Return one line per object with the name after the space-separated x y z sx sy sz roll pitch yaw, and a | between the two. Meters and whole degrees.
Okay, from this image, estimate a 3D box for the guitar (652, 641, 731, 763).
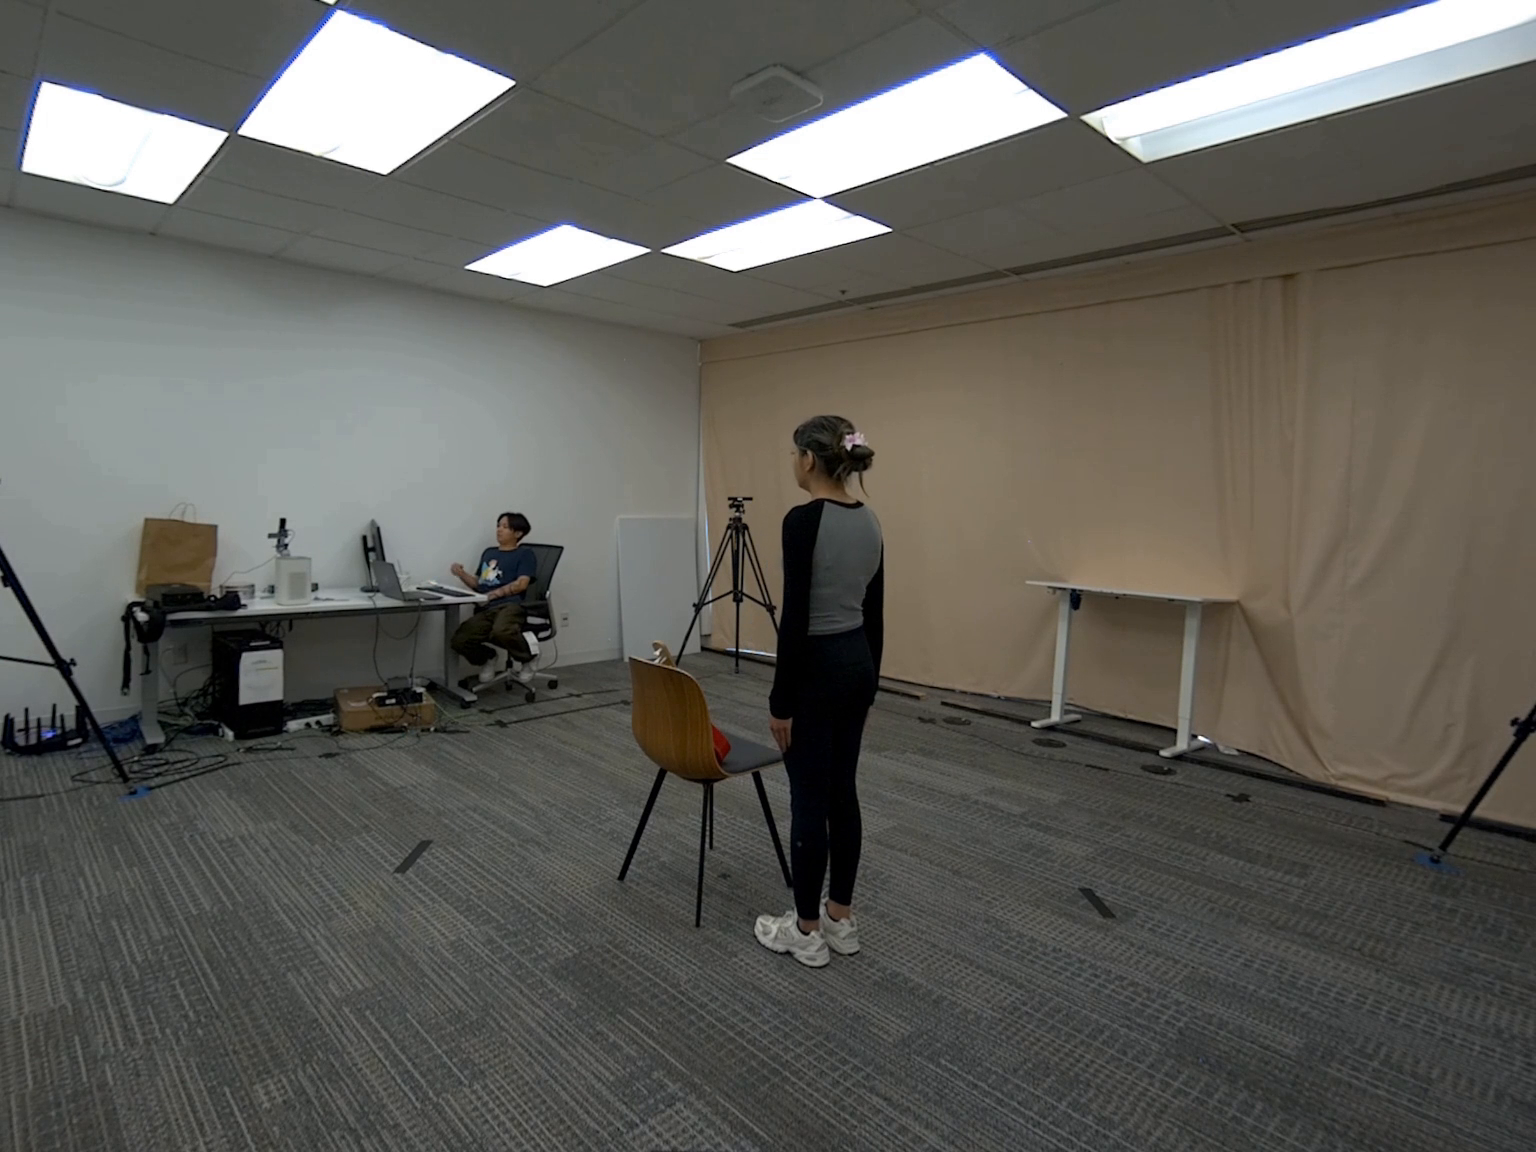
-0.311 0.434 2.870 0.197 0.489 0.070 -9 27 48 | guitar
